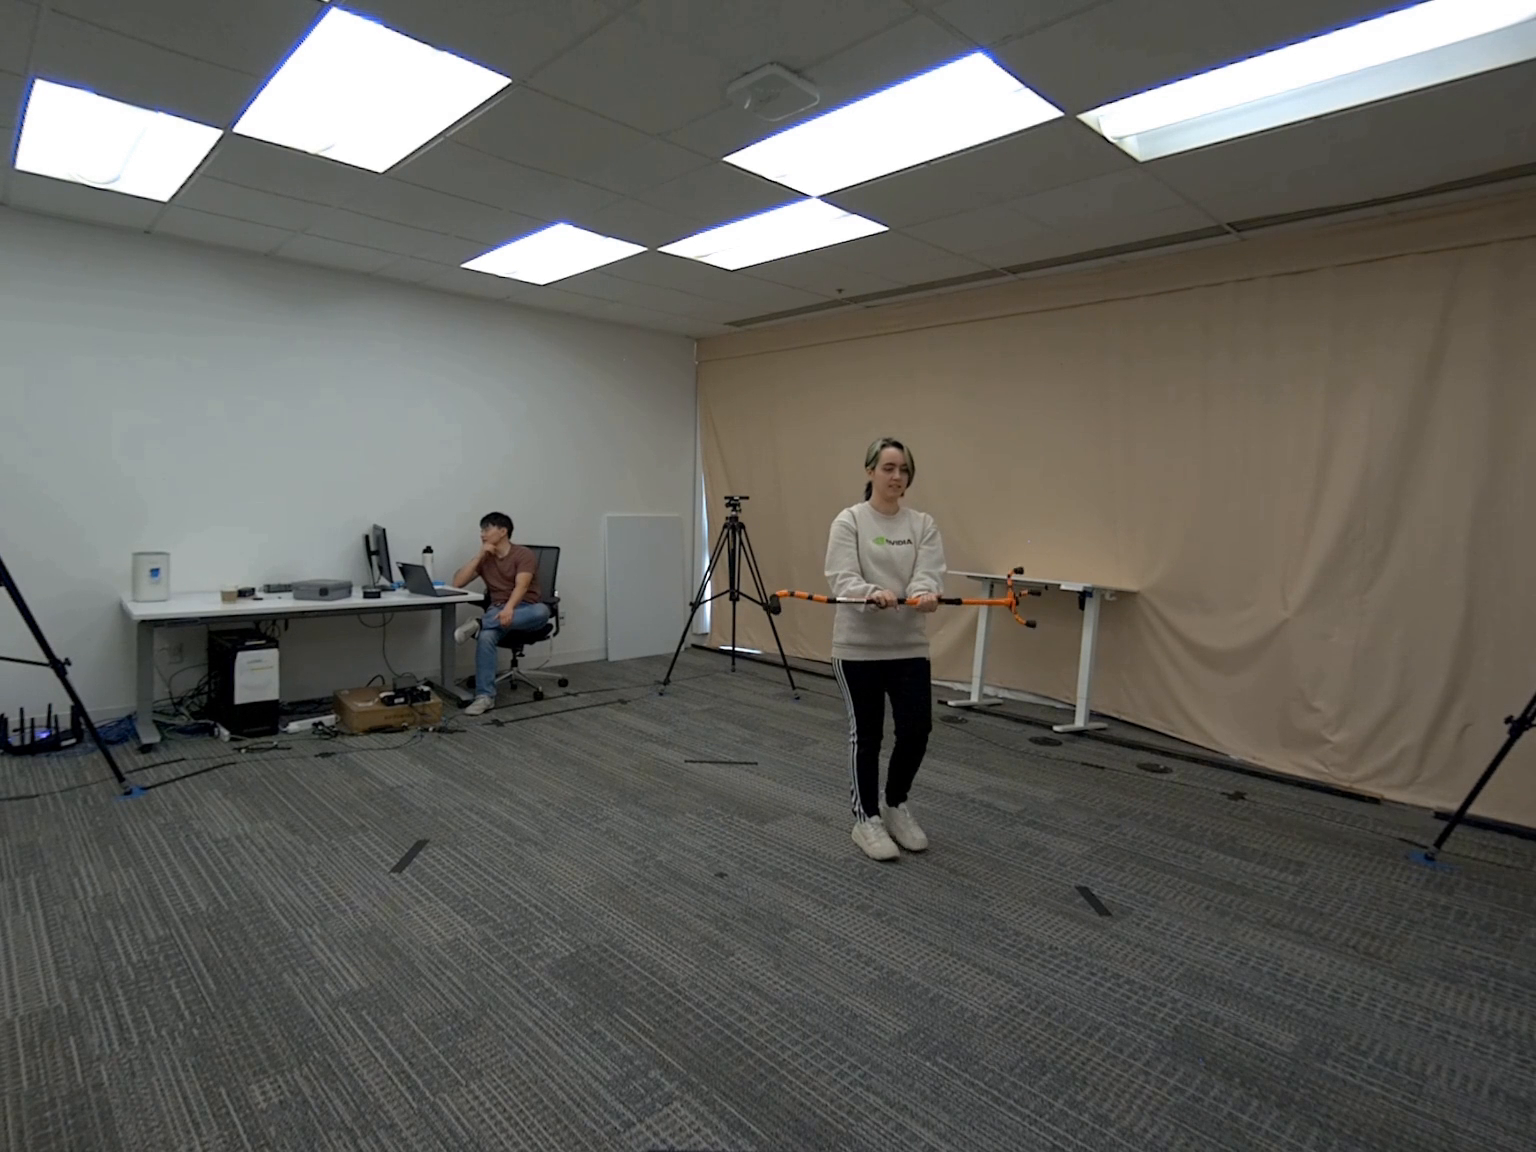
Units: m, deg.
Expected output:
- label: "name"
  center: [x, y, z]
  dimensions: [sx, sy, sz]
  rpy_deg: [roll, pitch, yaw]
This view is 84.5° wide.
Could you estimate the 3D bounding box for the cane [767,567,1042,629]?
- label: "cane"
  center: [0.468, 0.074, 2.939]
  dimensions: [0.907, 0.149, 0.210]
  rpy_deg: [0, 23, -1]
